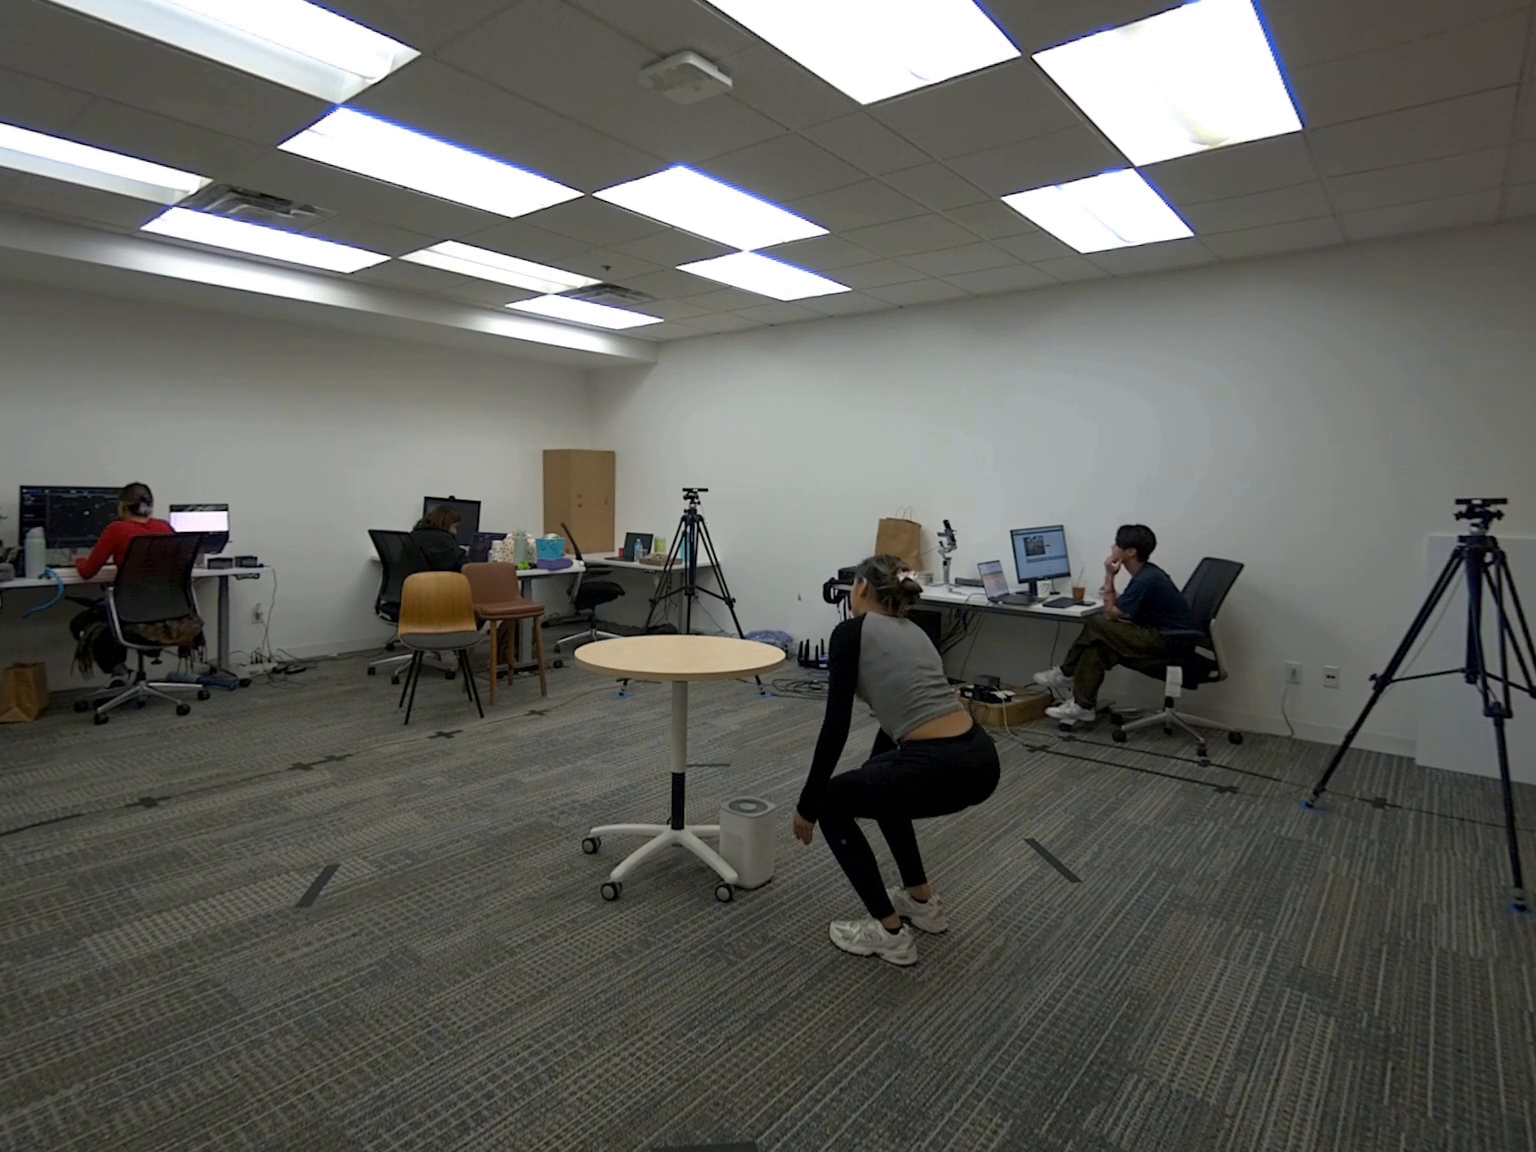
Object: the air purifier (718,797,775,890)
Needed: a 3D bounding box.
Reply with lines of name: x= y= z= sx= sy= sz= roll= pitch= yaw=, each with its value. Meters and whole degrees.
air purifier: x=-0.076 y=0.945 z=3.033 sx=0.177 sy=0.265 sz=0.166 roll=3 pitch=3 yaw=34
